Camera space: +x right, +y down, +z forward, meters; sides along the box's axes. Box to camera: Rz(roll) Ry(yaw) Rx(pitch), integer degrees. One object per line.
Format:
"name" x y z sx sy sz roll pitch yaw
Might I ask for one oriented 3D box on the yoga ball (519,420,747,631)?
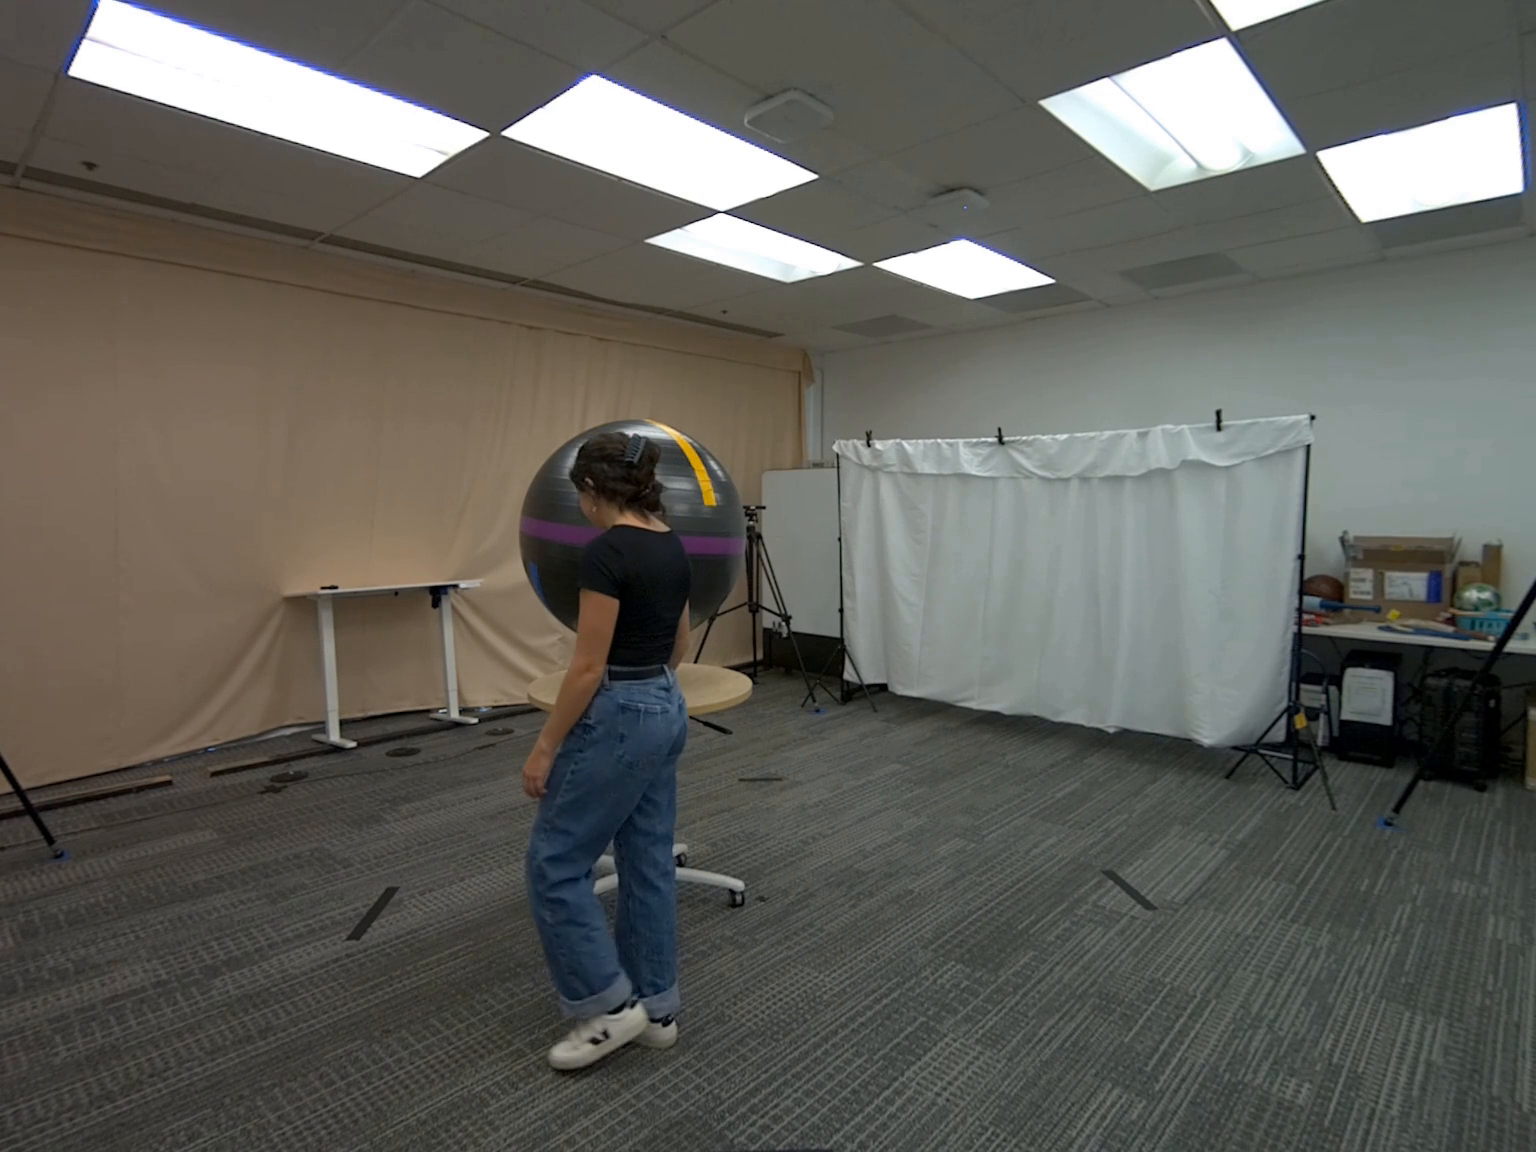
"yoga ball" -0.470 -0.142 2.851 0.757 0.756 0.760 0 4 -2
